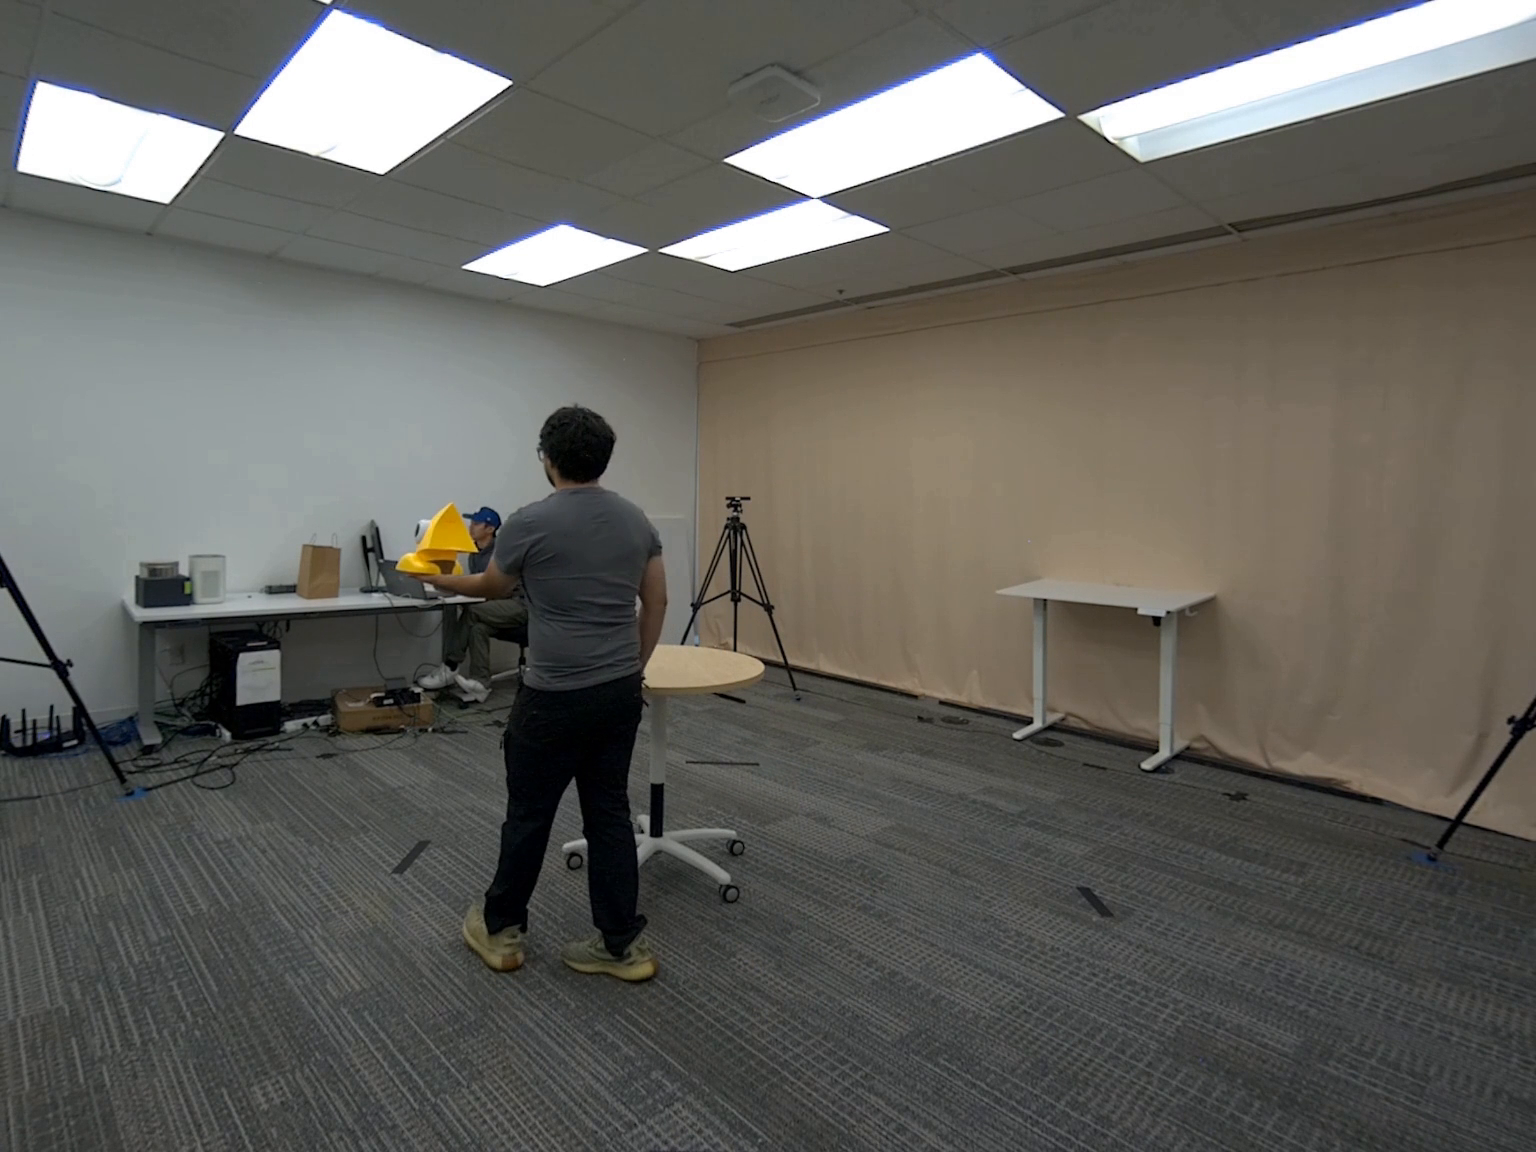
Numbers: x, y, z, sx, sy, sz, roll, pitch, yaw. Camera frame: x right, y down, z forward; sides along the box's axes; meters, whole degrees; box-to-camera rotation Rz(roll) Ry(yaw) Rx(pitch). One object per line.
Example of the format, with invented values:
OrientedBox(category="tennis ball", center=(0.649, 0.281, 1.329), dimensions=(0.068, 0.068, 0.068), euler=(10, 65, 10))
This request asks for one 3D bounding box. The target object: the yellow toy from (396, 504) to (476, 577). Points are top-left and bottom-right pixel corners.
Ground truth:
OrientedBox(category="yellow toy", center=(-1.088, -0.128, 2.719), dimensions=(0.197, 0.231, 0.200), euler=(6, 0, 28))
